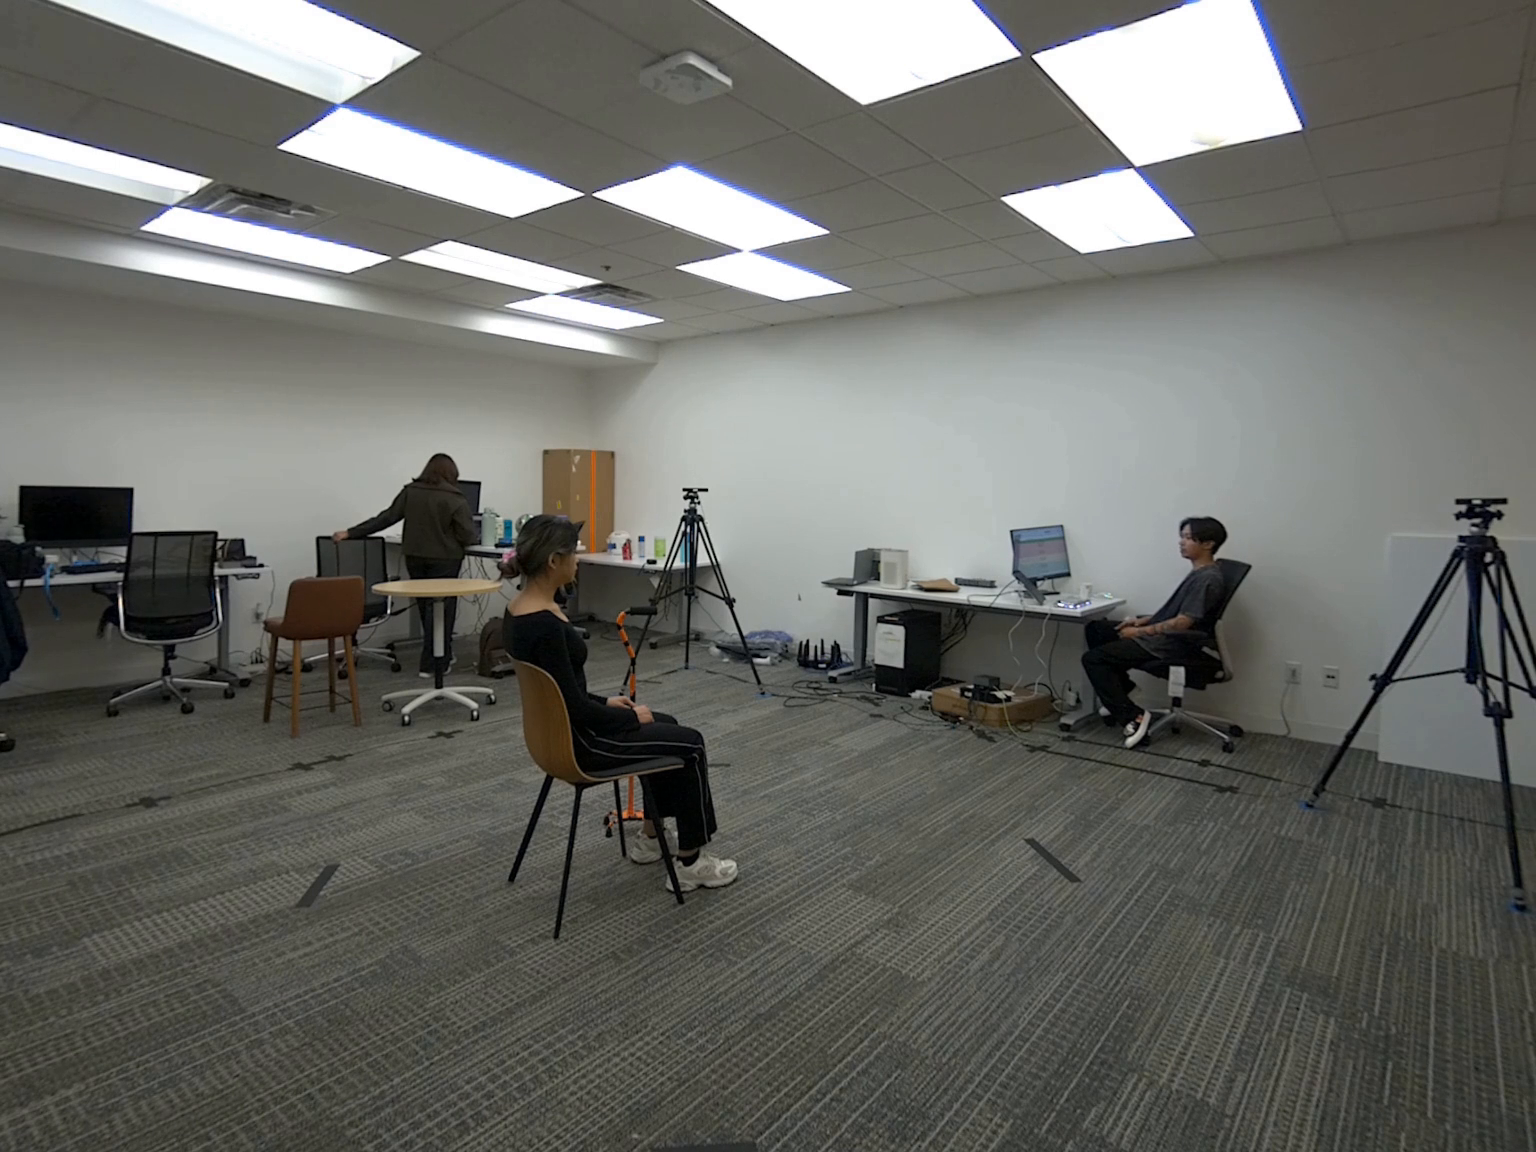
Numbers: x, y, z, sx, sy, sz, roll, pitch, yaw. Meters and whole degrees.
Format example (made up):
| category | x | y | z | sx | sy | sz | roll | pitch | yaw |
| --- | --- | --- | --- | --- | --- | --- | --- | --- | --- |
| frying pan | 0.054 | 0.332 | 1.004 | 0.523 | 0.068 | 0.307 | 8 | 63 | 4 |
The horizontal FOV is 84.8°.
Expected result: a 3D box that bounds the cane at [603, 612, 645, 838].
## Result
| category | x | y | z | sx | sy | sz | roll | pitch | yaw |
| --- | --- | --- | --- | --- | --- | --- | --- | --- | --- |
| cane | -0.564 | 0.574 | 3.441 | 0.203 | 0.906 | 0.154 | 1 | 2 | -14 |
